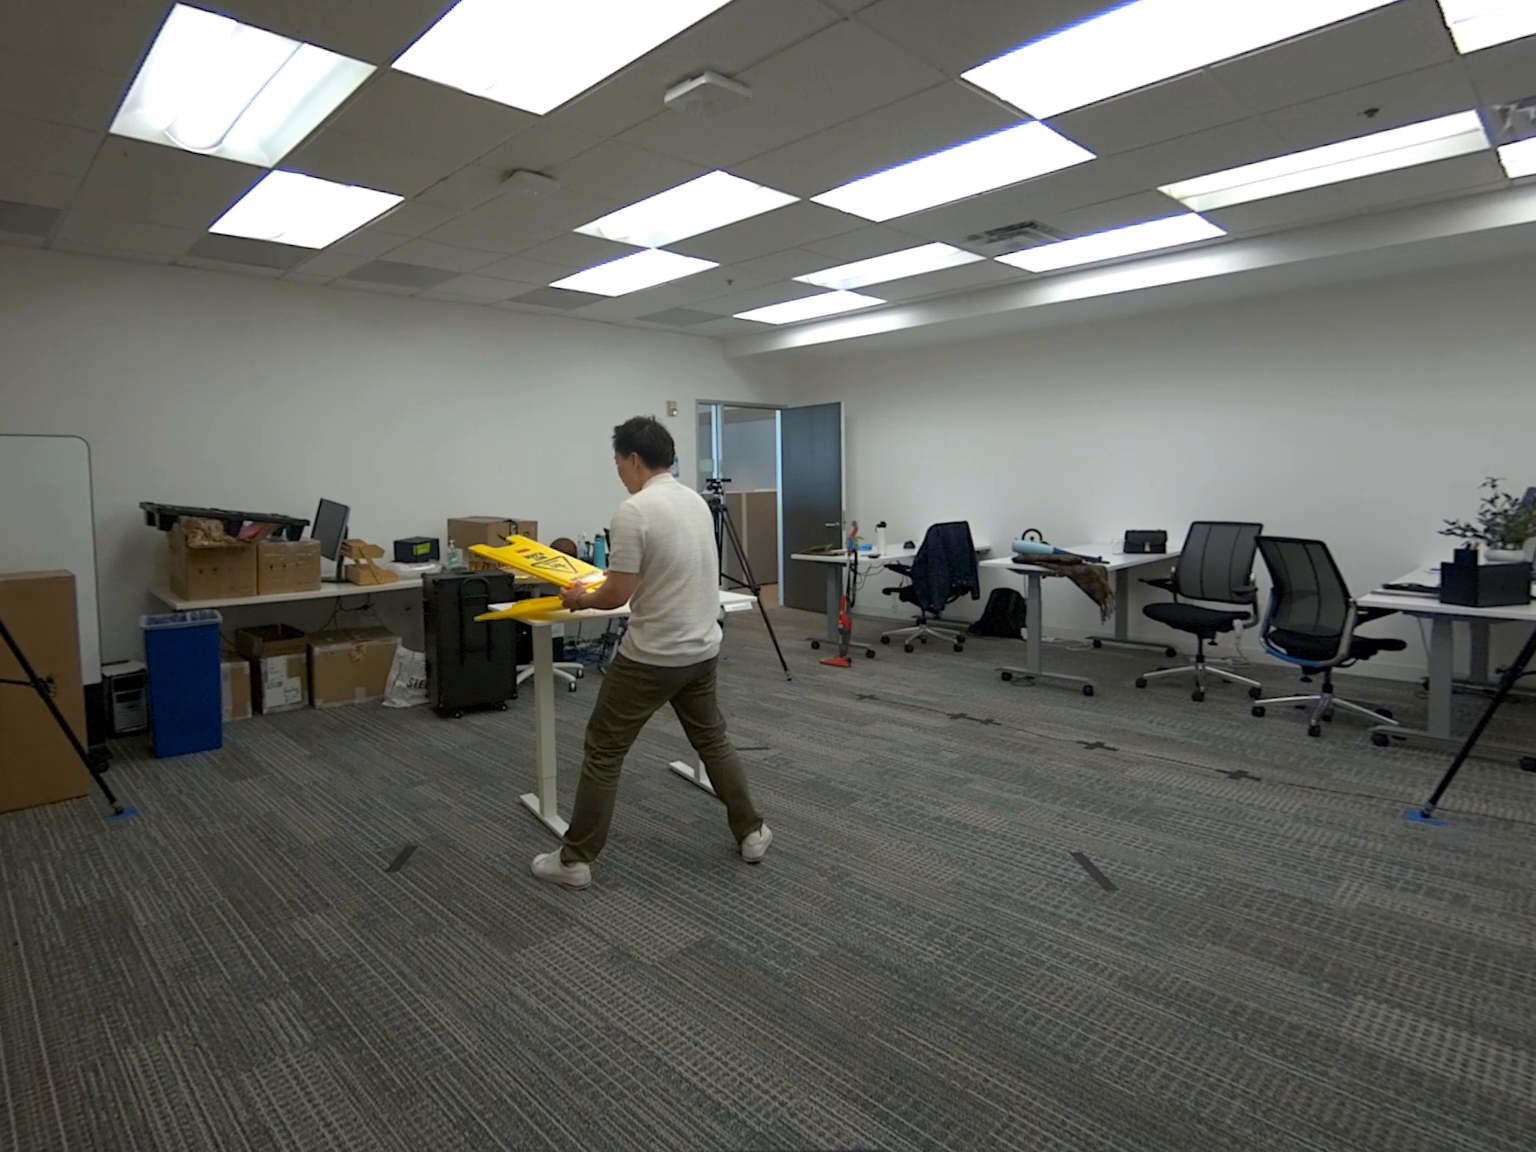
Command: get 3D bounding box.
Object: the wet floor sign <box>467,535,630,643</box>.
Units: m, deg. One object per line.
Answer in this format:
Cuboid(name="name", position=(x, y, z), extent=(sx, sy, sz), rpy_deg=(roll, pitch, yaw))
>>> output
Cuboid(name="wet floor sign", position=(-0.809, 0.032, 3.293), extent=(0.664, 0.287, 0.277), rpy_deg=(6, 14, 29))
